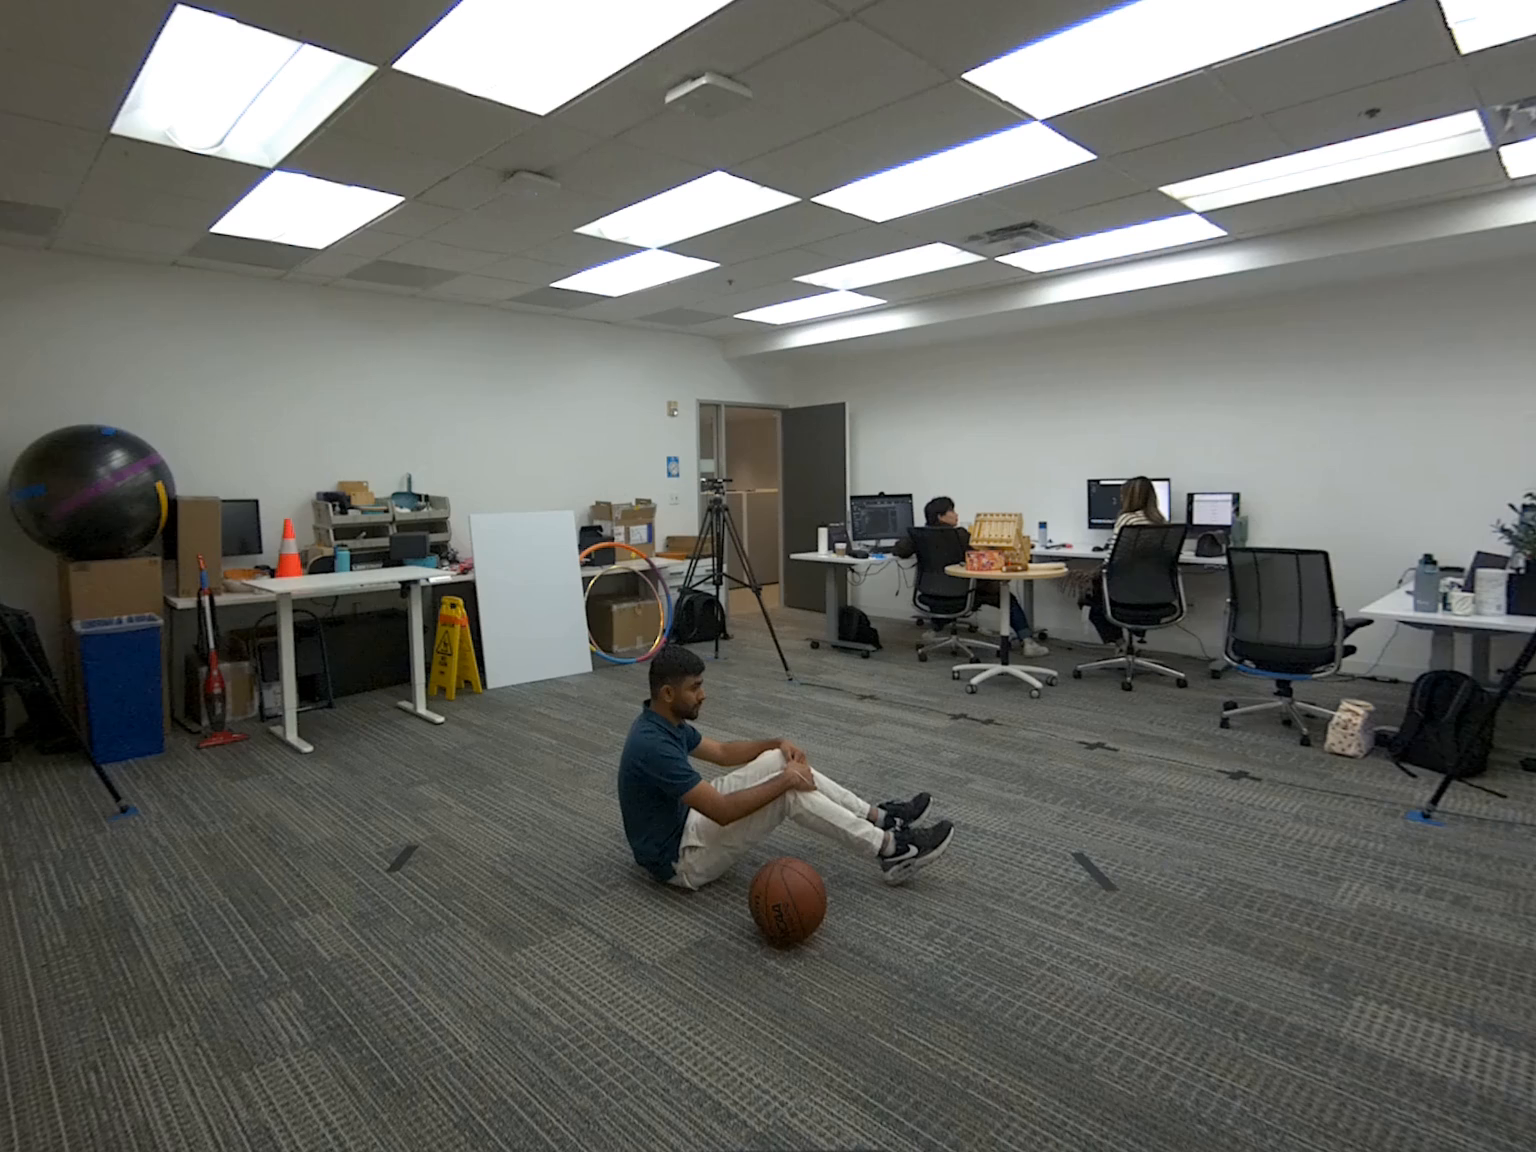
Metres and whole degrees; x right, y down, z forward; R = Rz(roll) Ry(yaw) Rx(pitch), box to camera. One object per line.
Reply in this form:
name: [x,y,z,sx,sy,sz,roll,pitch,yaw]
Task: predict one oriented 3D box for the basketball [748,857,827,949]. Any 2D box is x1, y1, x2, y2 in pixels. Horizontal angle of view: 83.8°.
basketball: [0.063,0.983,2.599,0.236,0.235,0.237,-1,5,-2]
